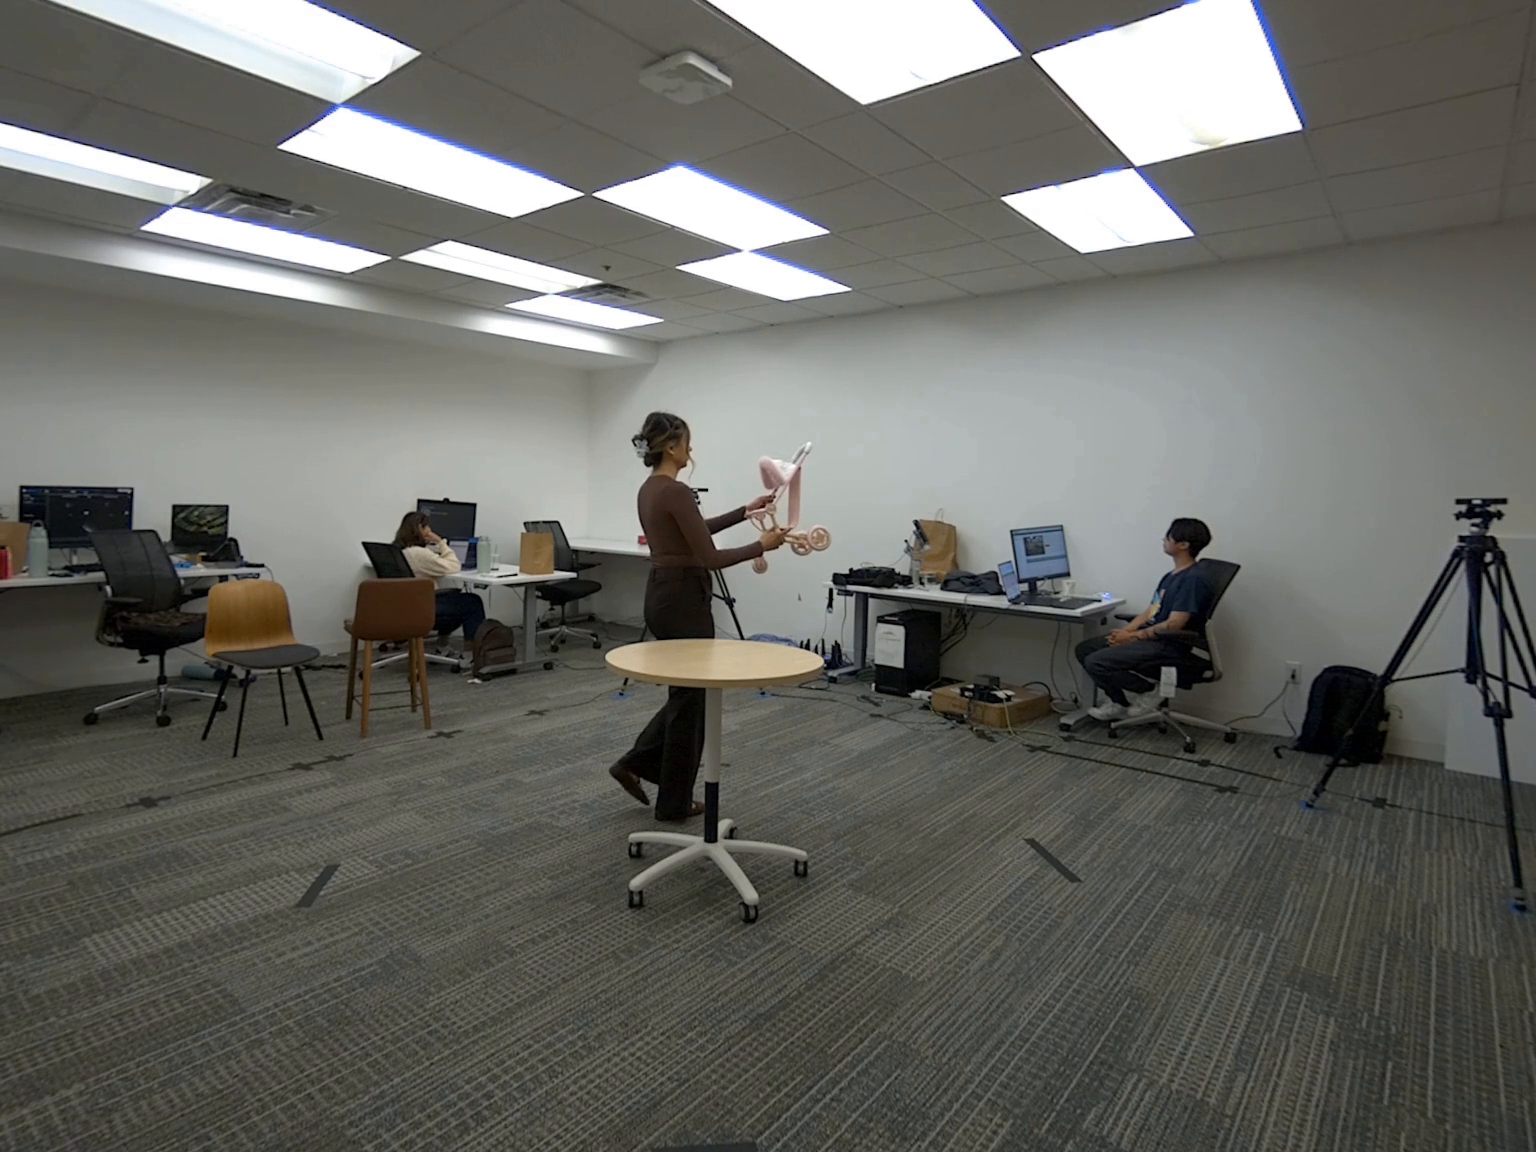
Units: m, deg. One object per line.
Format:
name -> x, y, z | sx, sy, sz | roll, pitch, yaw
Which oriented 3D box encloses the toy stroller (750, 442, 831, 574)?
toy stroller -> 0.045, -0.296, 3.719 | 0.338, 0.536, 0.283 | -8, -2, -9
